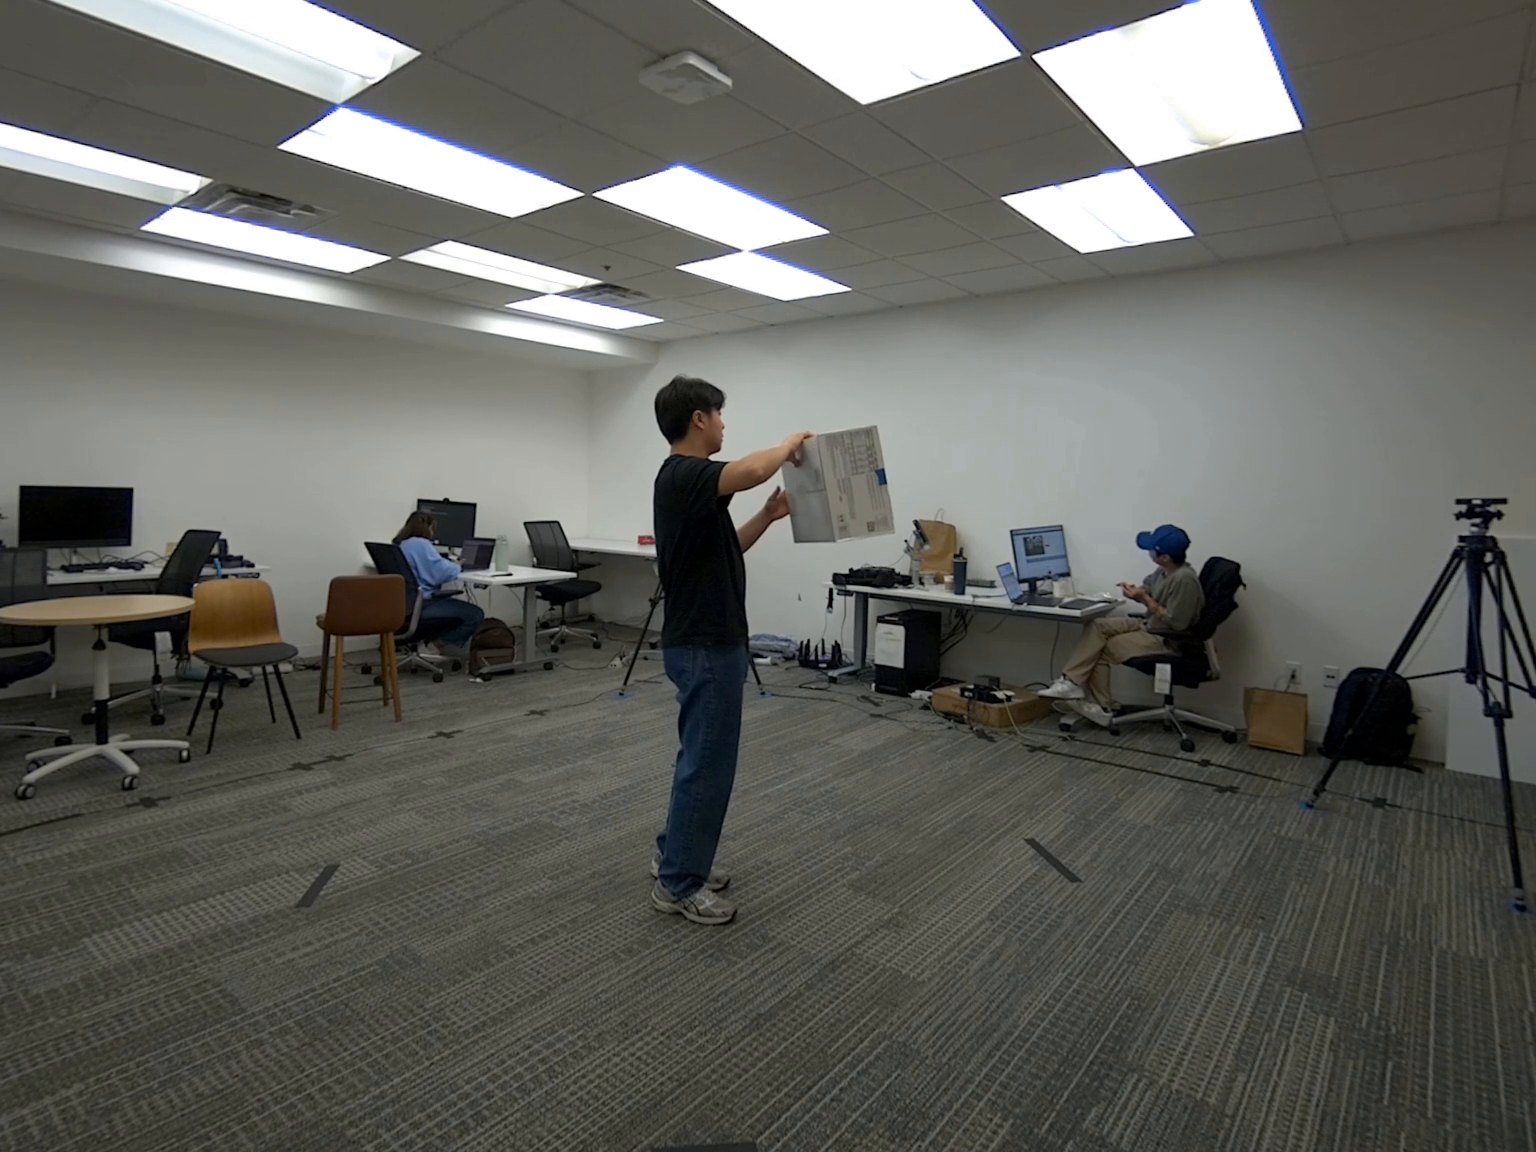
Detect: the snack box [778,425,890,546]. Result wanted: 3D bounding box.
[{"bbox_3d":[0.200,-0.290,2.791,0.203,0.340,0.410,-10,2,-13],"label":"snack box"}]
